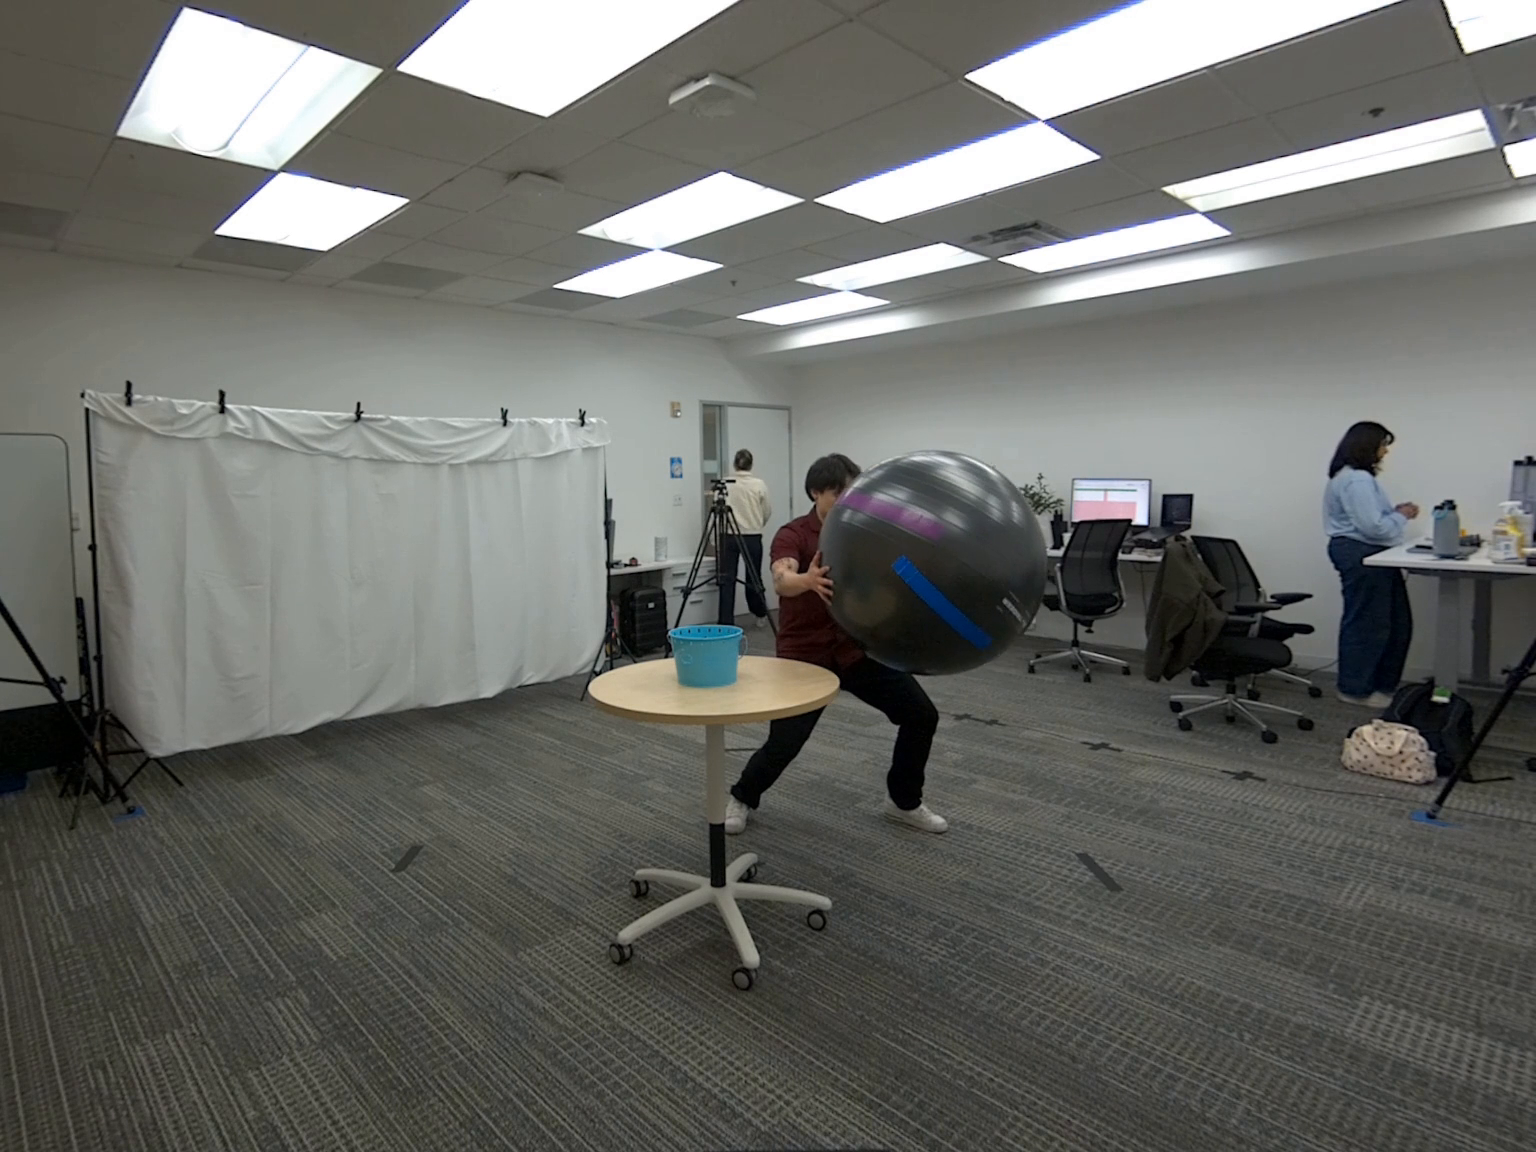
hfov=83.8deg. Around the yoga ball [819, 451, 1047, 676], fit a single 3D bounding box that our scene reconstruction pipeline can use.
[{"bbox_3d":[0.565,-0.041,2.900,0.757,0.755,0.762,-1,5,-2],"label":"yoga ball"}]
